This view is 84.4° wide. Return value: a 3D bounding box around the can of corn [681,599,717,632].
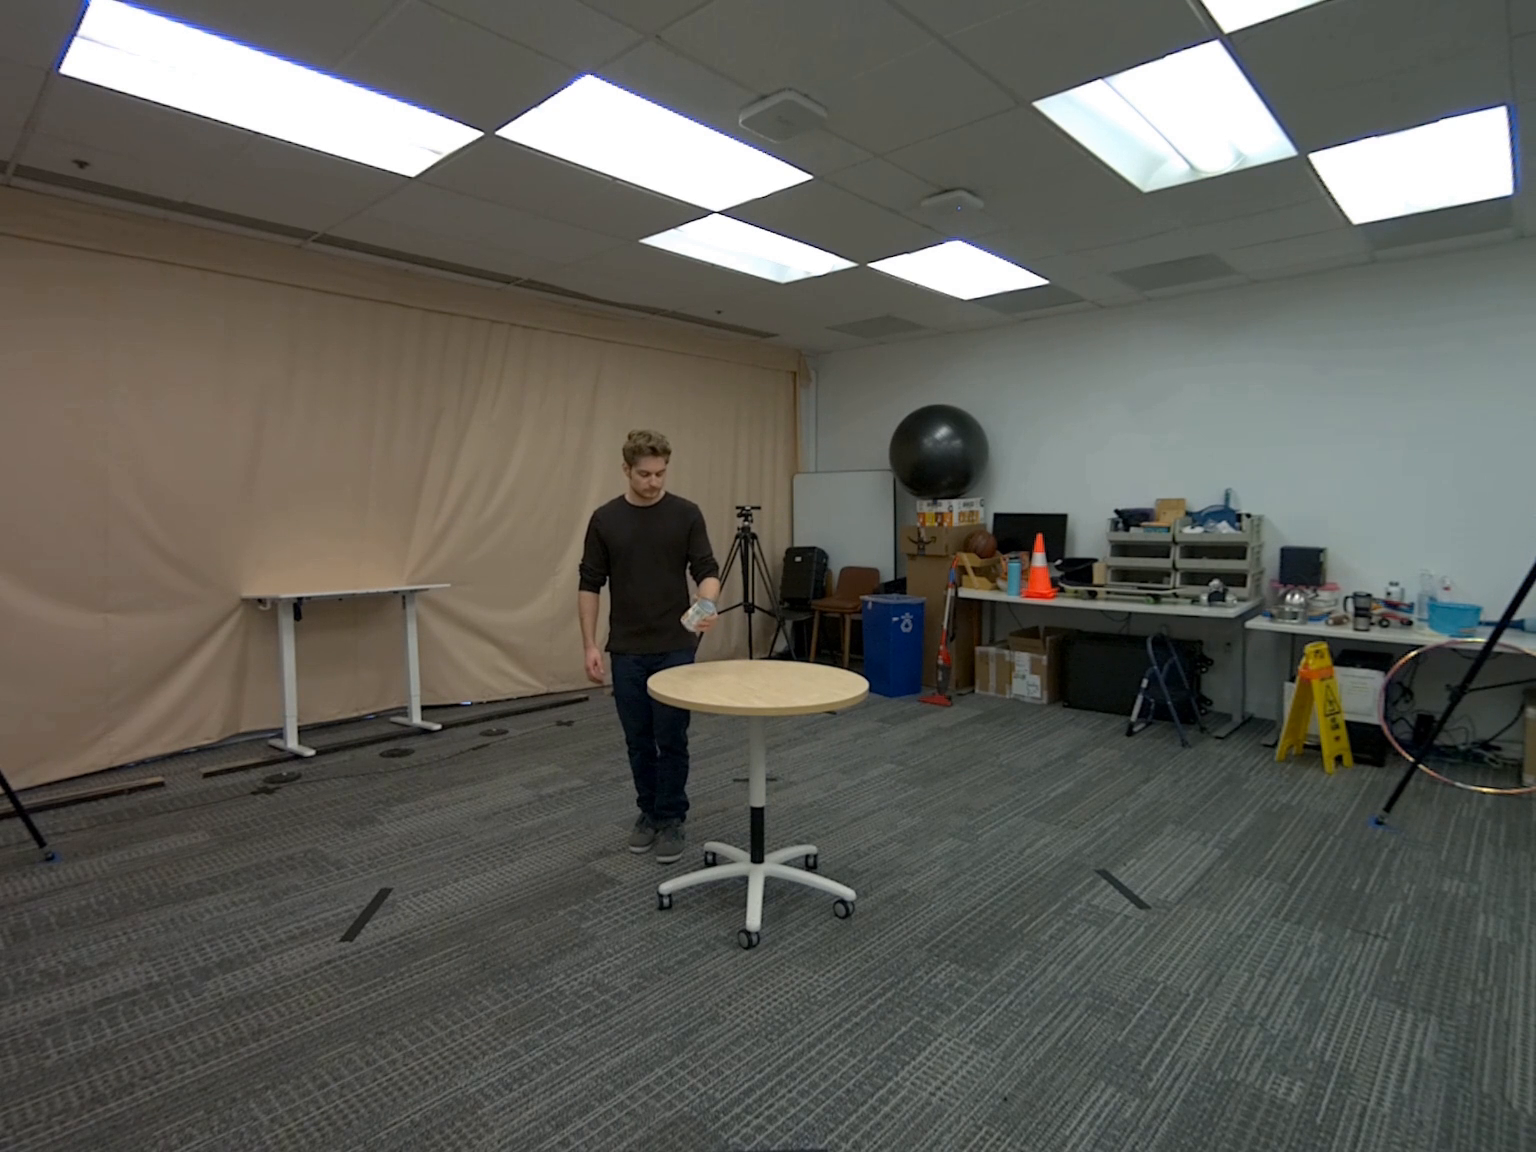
[{"bbox_3d":[-0.223,0.126,3.102,0.110,0.074,0.075,-6,5,-12],"label":"can of corn"}]
